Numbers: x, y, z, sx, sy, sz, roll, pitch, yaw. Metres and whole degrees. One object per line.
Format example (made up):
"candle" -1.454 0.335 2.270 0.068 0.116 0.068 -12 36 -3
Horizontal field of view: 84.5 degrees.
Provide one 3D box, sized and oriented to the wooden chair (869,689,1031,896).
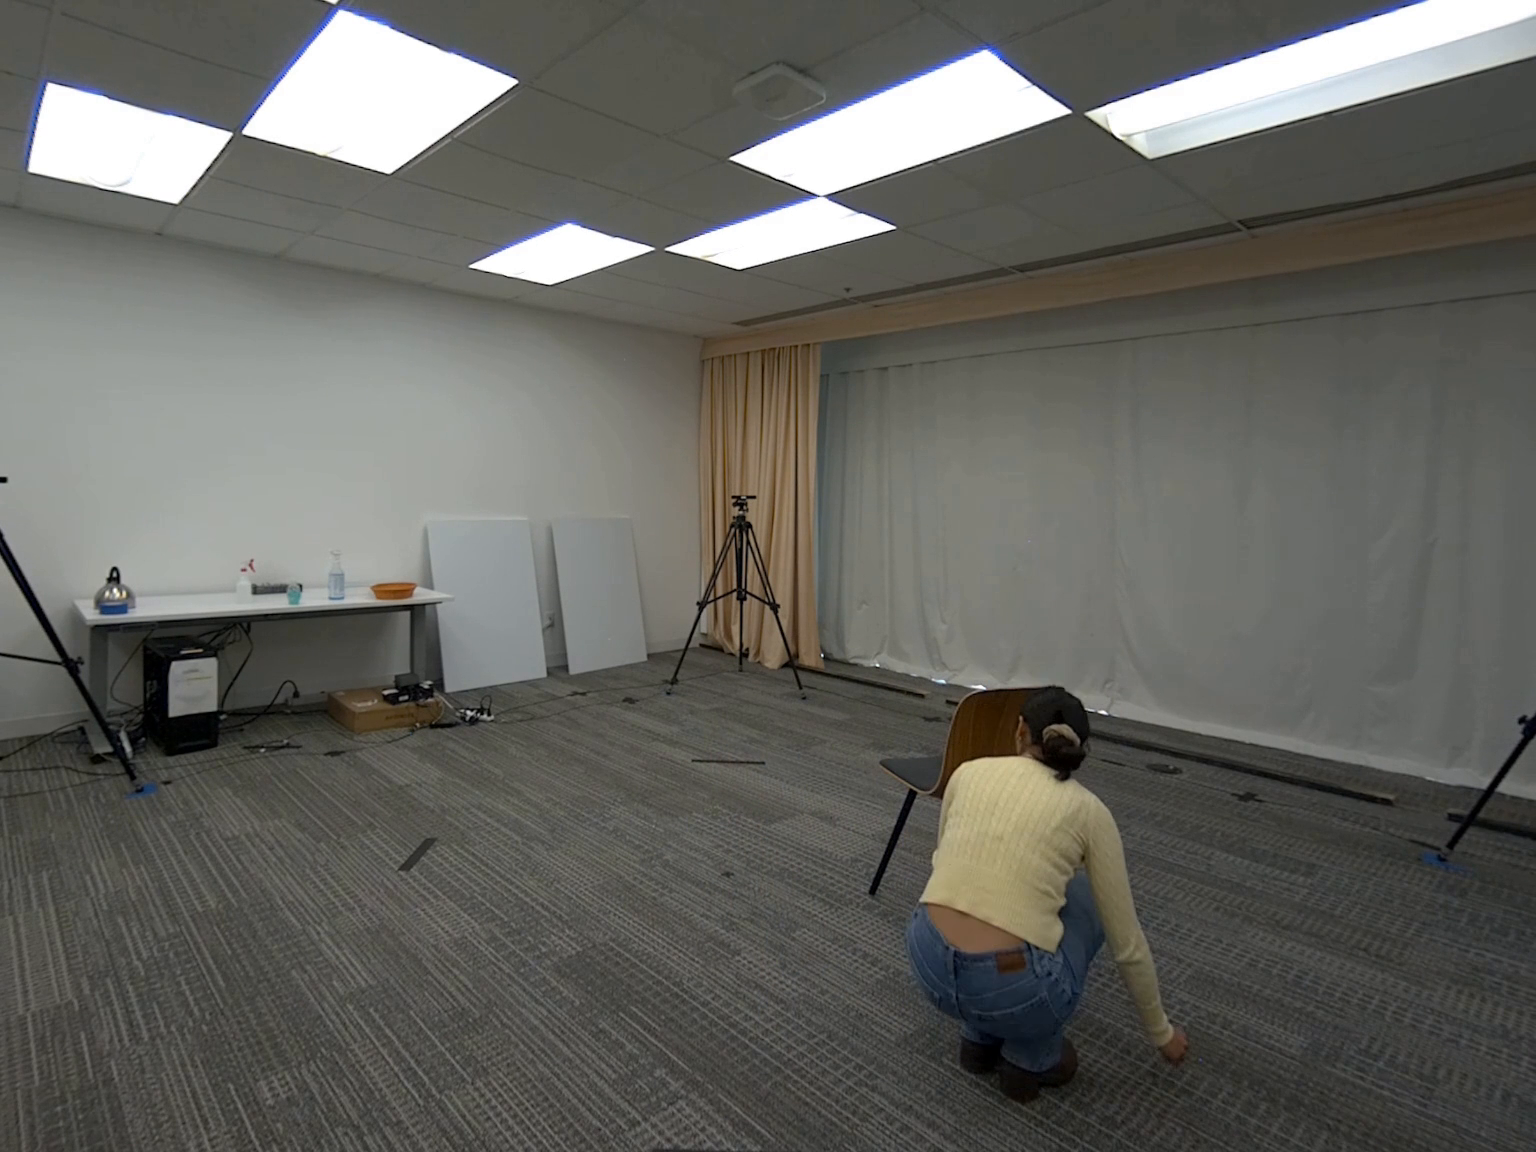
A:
"wooden chair" 0.651 0.722 2.813 0.470 0.872 0.534 0 9 -22
